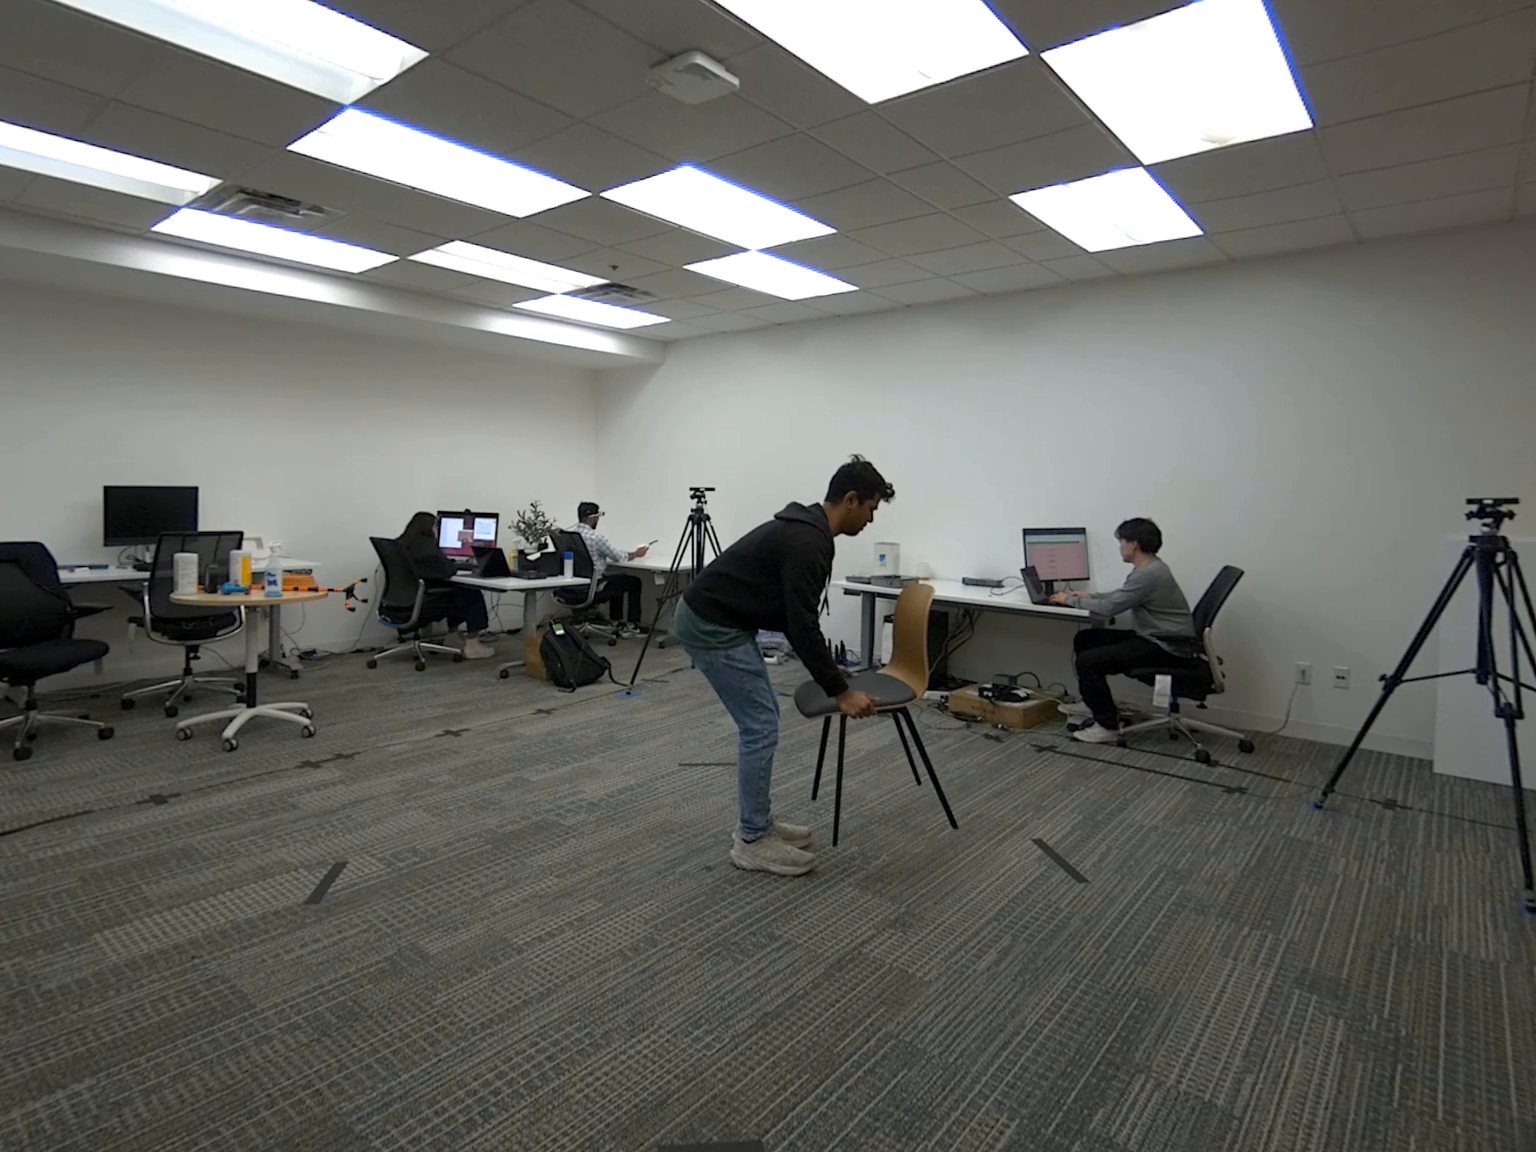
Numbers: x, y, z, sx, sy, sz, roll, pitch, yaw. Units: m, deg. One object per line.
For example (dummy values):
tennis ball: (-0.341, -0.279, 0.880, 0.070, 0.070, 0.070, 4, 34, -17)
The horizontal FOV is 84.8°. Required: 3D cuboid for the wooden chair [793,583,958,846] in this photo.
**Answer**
wooden chair: (0.359, 0.475, 3.197, 0.520, 0.873, 0.483, -3, 5, -6)
